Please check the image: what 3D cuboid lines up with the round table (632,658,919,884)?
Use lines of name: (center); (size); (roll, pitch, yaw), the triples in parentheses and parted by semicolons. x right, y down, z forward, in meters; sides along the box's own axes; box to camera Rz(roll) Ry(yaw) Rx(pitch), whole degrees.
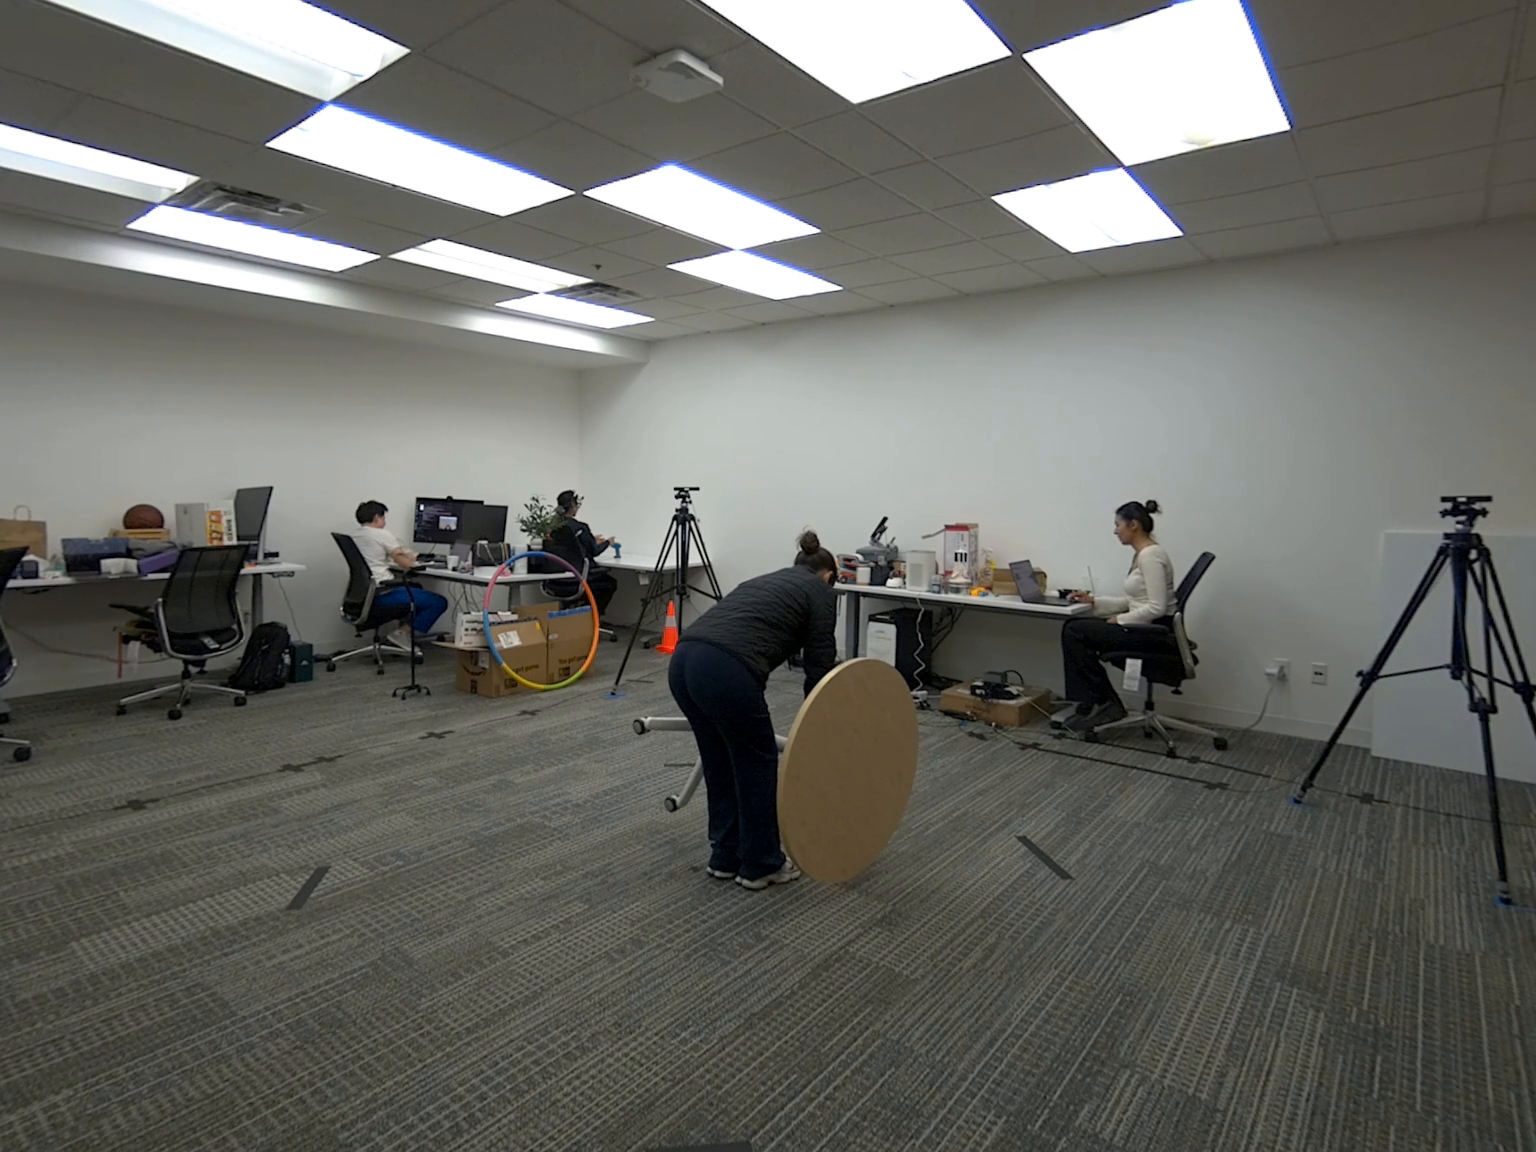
round table: (0.020, 0.629, 3.203); (0.814, 0.782, 0.761); (6, 6, 44)
